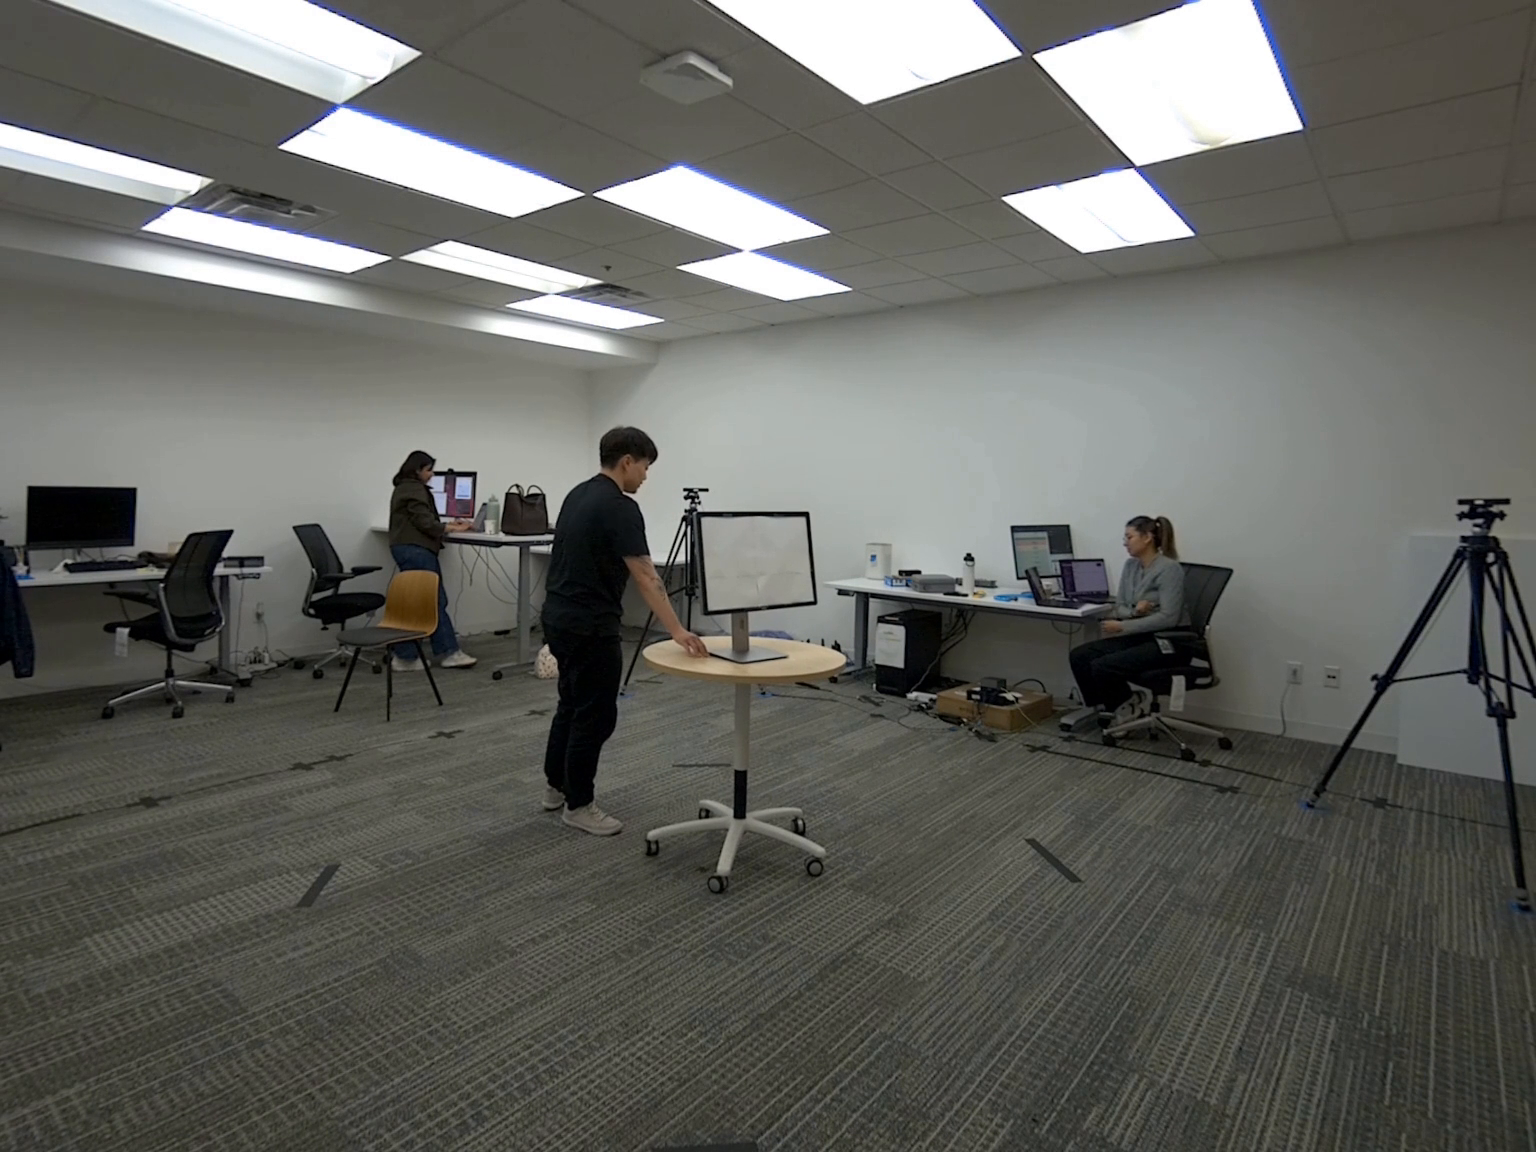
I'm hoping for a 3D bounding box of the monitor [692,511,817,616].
[{"bbox_3d":[-0.074,0.033,3.162,0.523,0.521,0.193,-3,6,-42],"label":"monitor"}]
